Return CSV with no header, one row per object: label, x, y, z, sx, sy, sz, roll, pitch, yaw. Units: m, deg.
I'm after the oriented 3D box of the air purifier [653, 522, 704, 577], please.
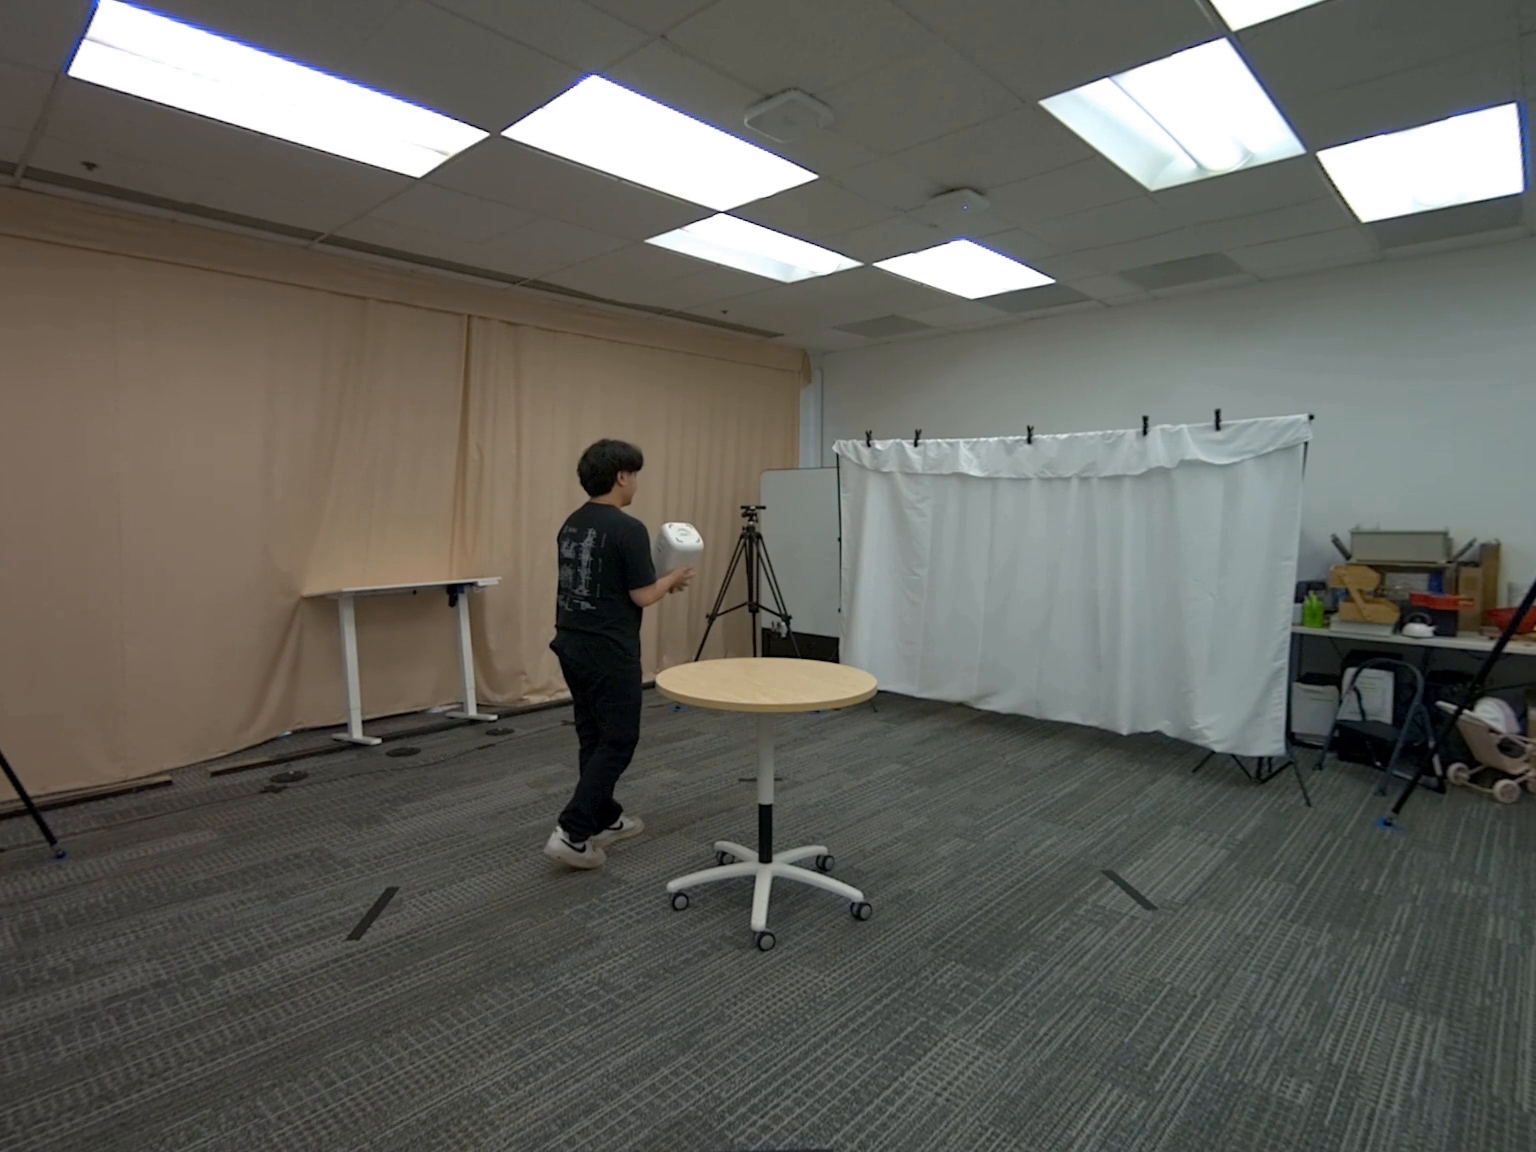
air purifier,-0.404,-0.082,3.621,0.166,0.265,0.176,-1,44,-37
